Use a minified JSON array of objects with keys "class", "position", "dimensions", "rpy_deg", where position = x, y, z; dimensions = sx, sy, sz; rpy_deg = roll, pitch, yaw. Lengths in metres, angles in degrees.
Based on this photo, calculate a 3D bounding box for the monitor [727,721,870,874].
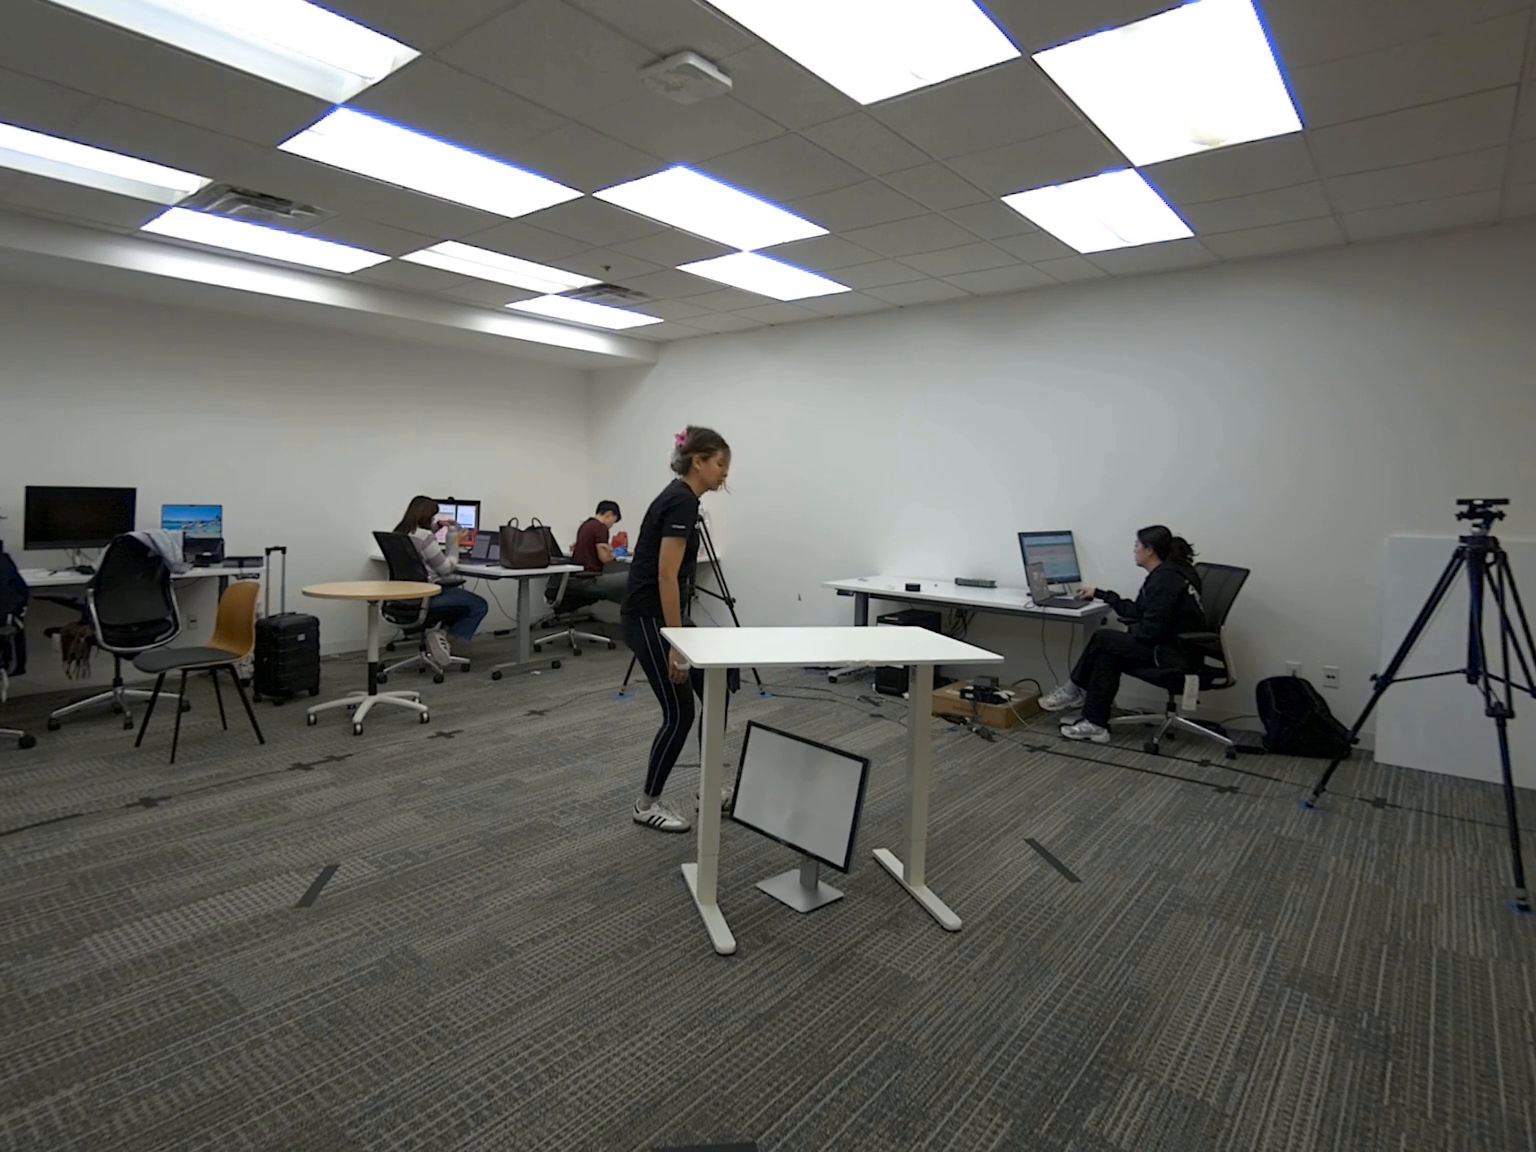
[{"class":"monitor","position":[0.114,0.828,2.930],"dimensions":[0.181,0.521,0.557],"rpy_deg":[-3,6,-44]}]
